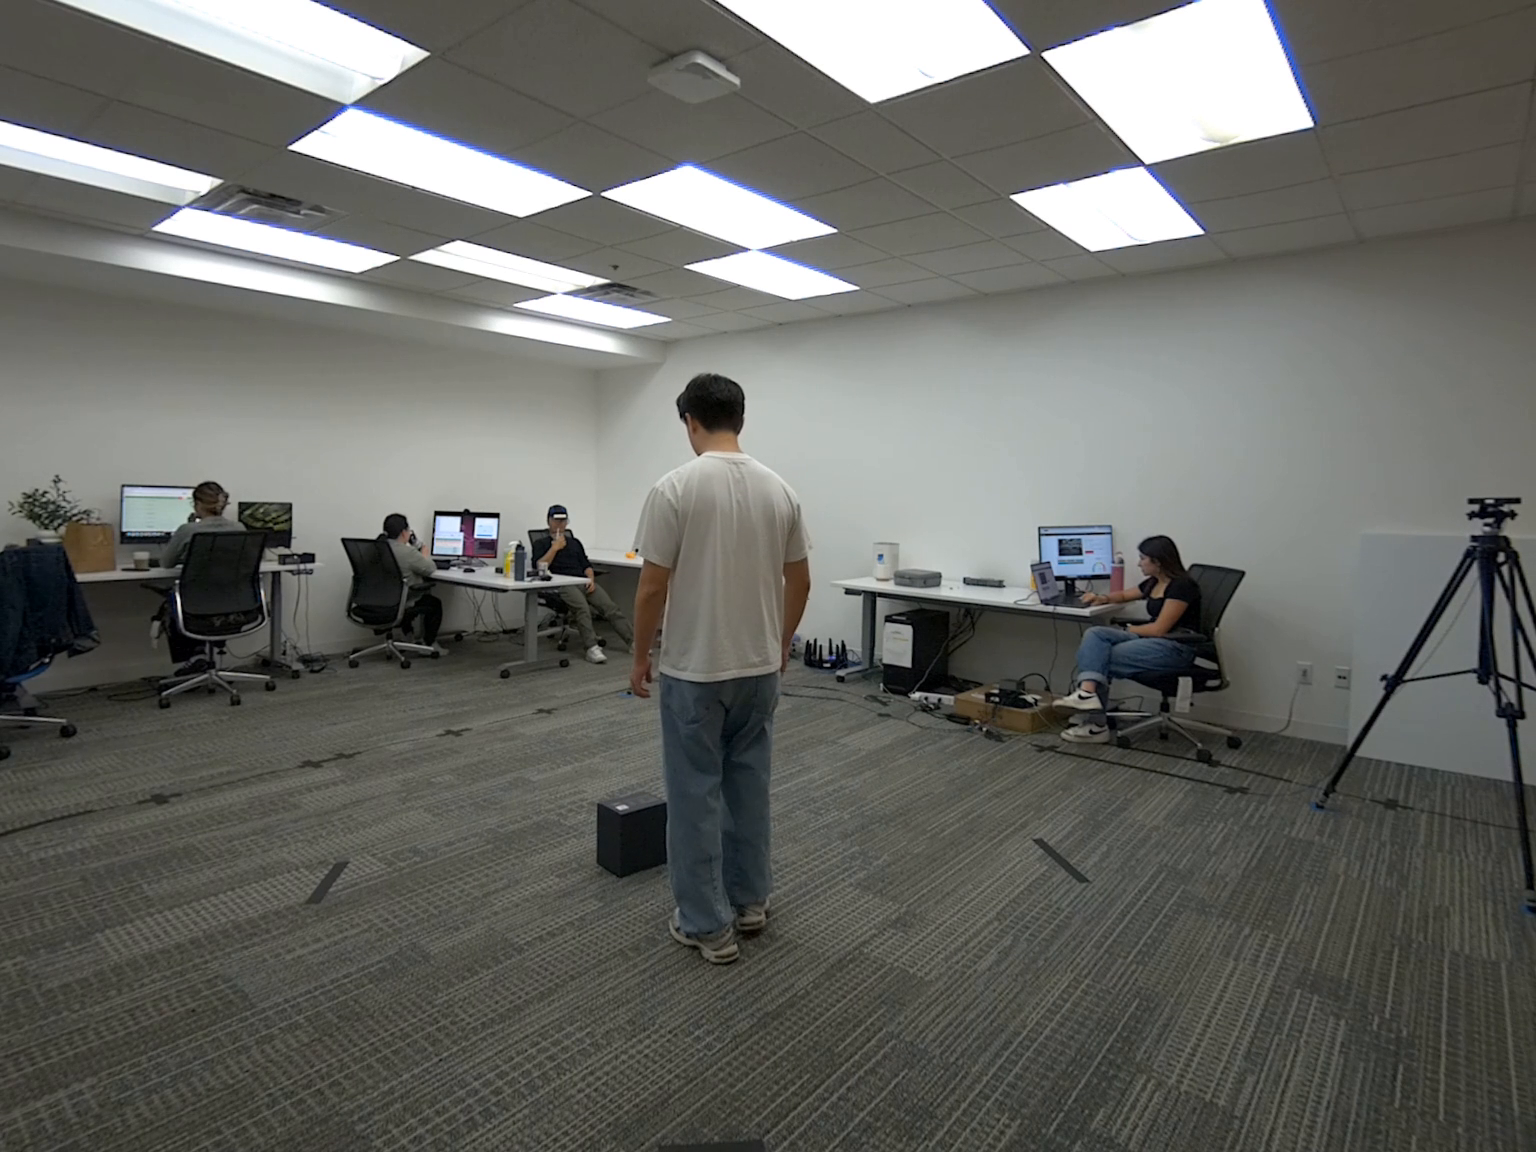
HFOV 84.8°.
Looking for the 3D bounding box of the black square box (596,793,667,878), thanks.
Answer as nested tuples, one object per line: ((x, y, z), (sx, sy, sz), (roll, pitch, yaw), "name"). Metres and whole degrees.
((-0.509, 0.940, 3.134), (0.210, 0.227, 0.161), (-2, 4, -43), "black square box")
